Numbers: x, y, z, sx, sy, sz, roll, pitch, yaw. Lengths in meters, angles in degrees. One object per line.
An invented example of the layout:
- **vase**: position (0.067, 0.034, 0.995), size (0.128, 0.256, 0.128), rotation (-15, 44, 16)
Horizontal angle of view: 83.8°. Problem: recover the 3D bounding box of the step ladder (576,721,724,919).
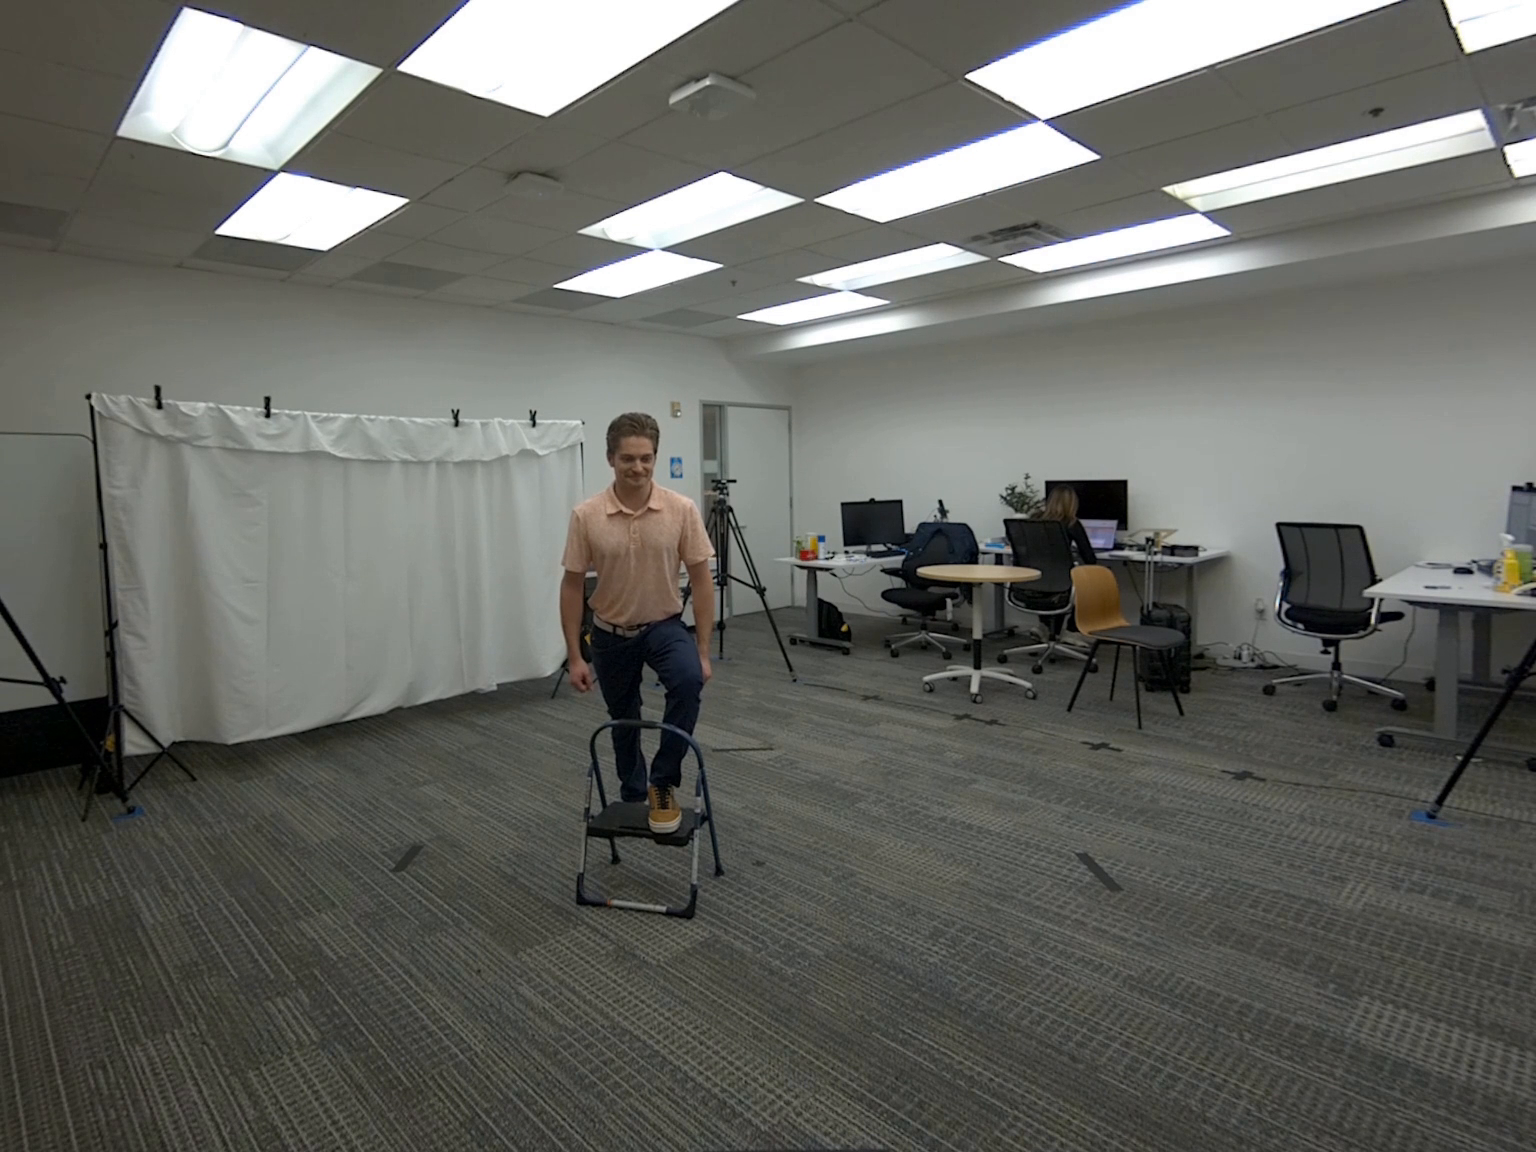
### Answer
- **step ladder**: position (-0.404, 0.773, 2.922), size (0.437, 0.604, 0.346), rotation (0, 4, 14)
